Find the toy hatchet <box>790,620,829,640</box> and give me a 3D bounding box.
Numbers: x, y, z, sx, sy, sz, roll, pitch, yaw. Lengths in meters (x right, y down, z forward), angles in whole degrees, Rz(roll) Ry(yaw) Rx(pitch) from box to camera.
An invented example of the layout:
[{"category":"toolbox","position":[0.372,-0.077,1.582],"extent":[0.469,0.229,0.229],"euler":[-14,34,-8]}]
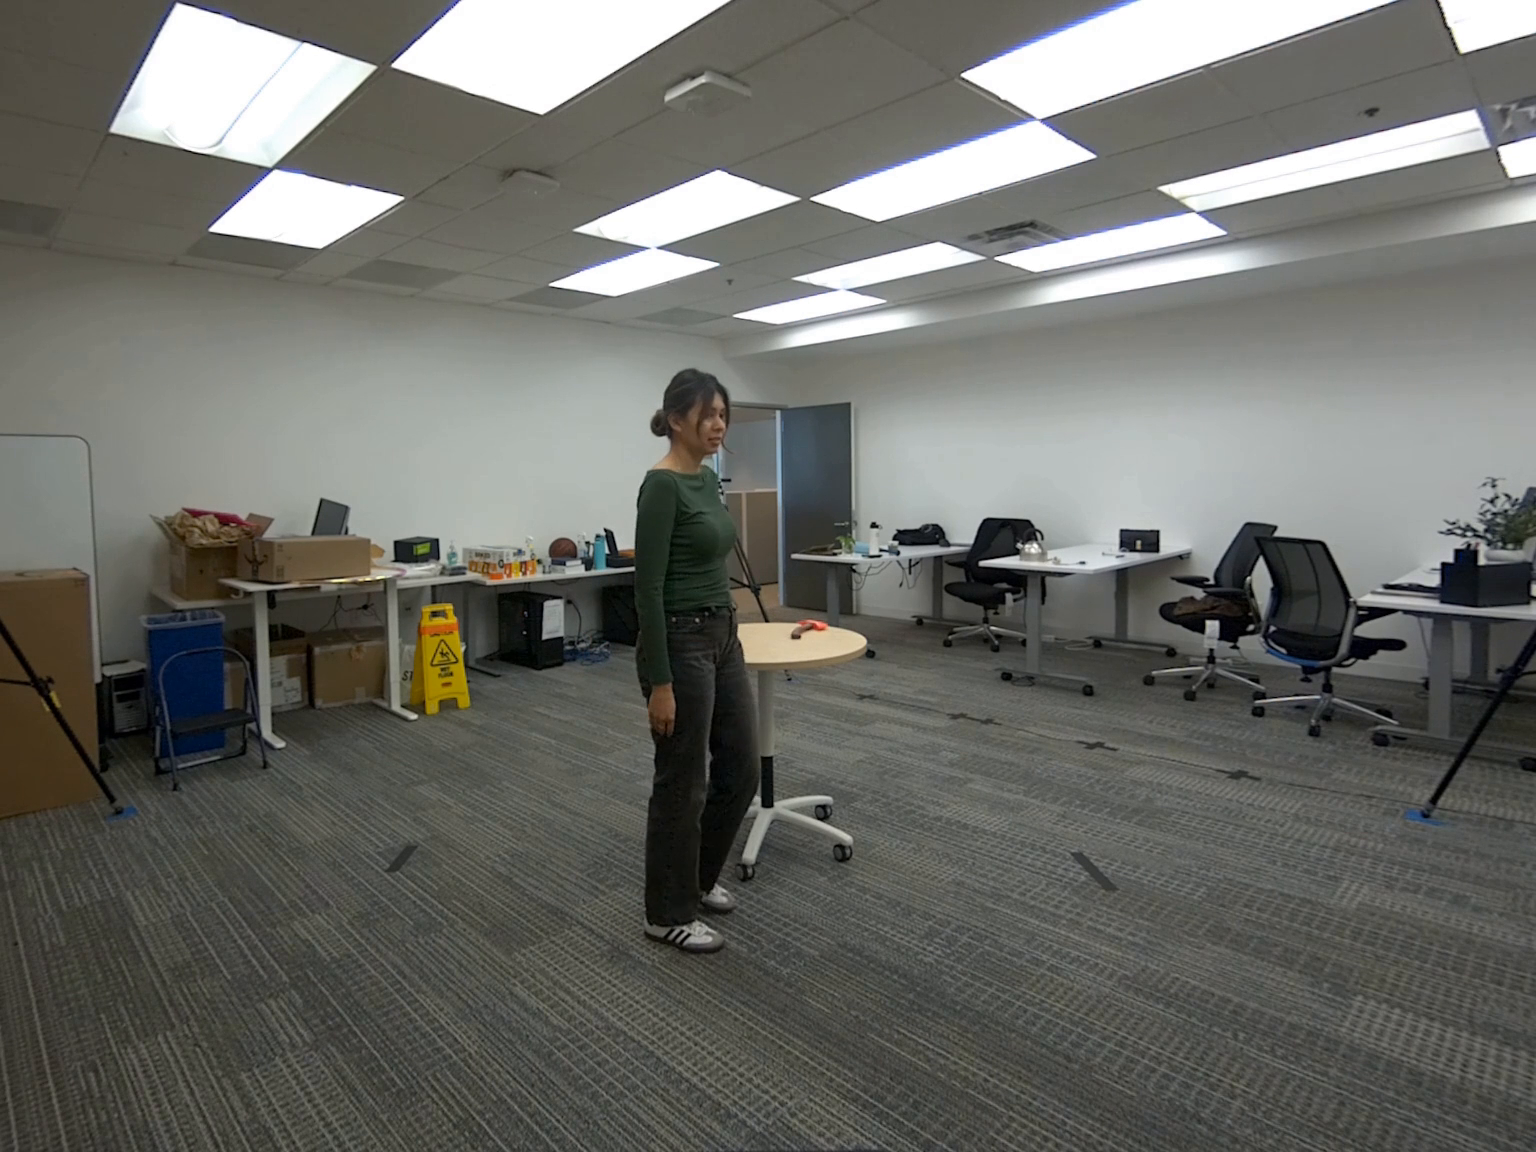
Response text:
[{"category":"toy hatchet","position":[0.172,0.215,3.371],"extent":[0.132,0.029,0.270],"euler":[2,9,5]}]
